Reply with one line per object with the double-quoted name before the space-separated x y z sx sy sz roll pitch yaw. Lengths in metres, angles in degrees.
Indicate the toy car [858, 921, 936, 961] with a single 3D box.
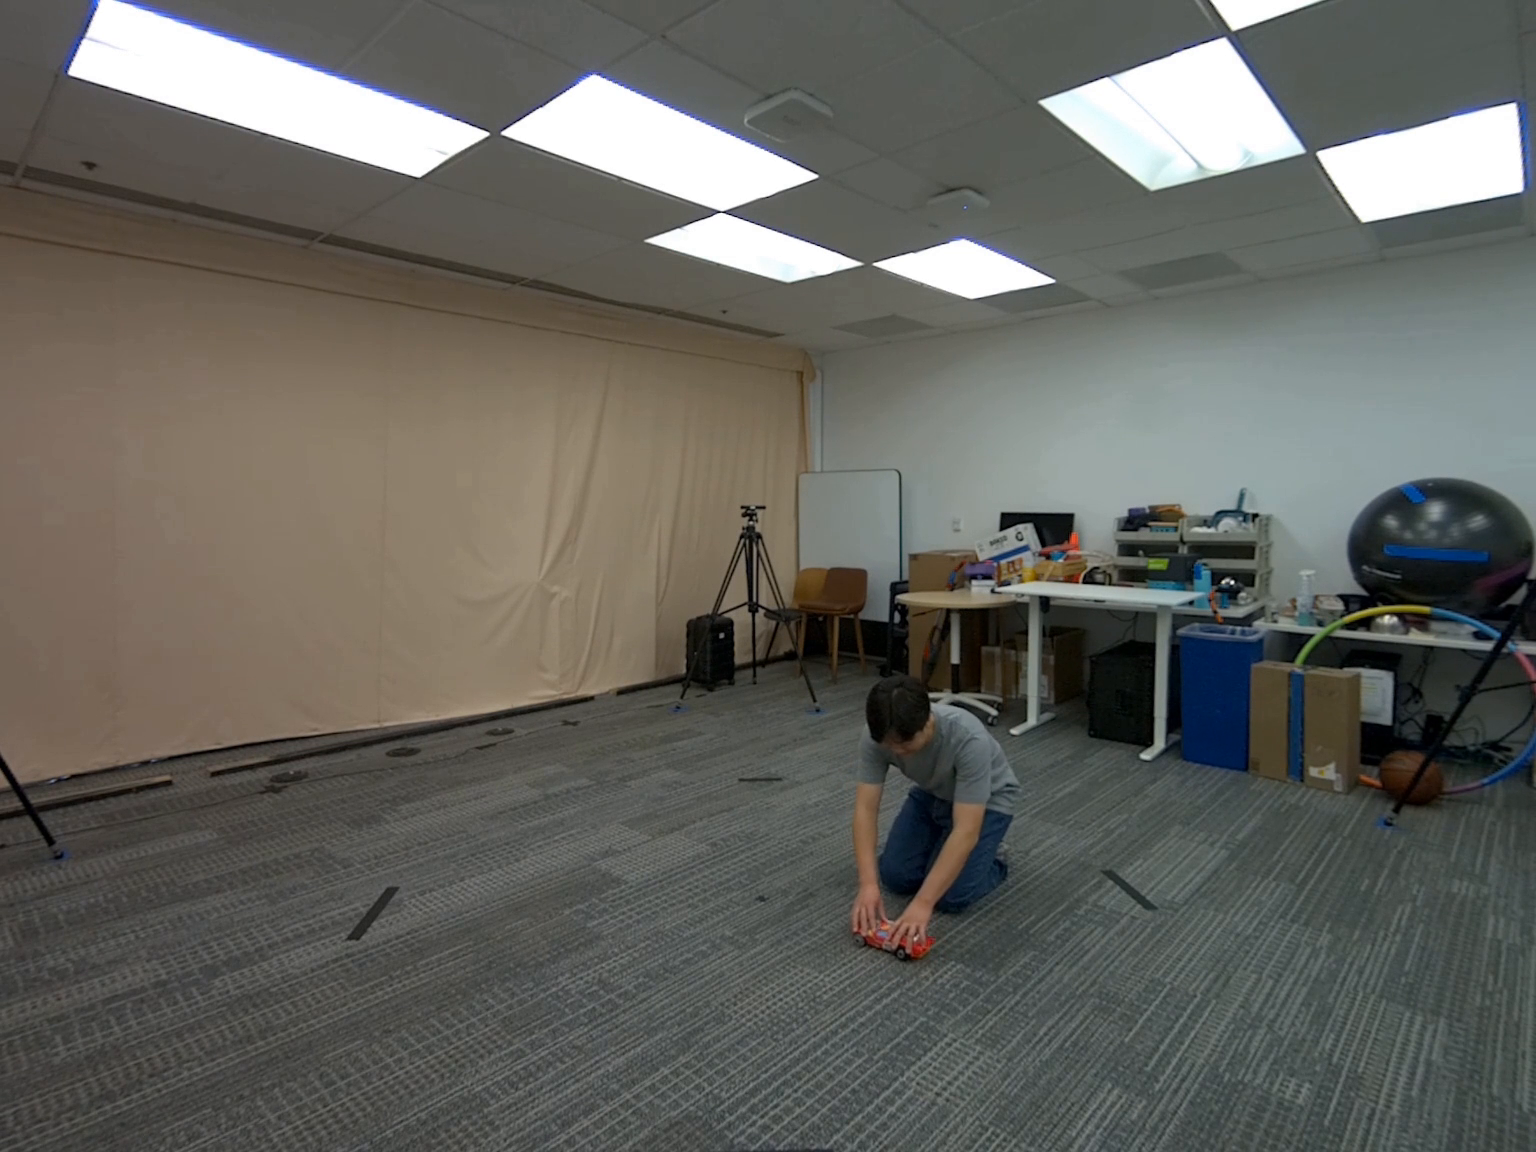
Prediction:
"toy car" 0.409 1.144 2.647 0.261 0.083 0.126 -10 -2 36
